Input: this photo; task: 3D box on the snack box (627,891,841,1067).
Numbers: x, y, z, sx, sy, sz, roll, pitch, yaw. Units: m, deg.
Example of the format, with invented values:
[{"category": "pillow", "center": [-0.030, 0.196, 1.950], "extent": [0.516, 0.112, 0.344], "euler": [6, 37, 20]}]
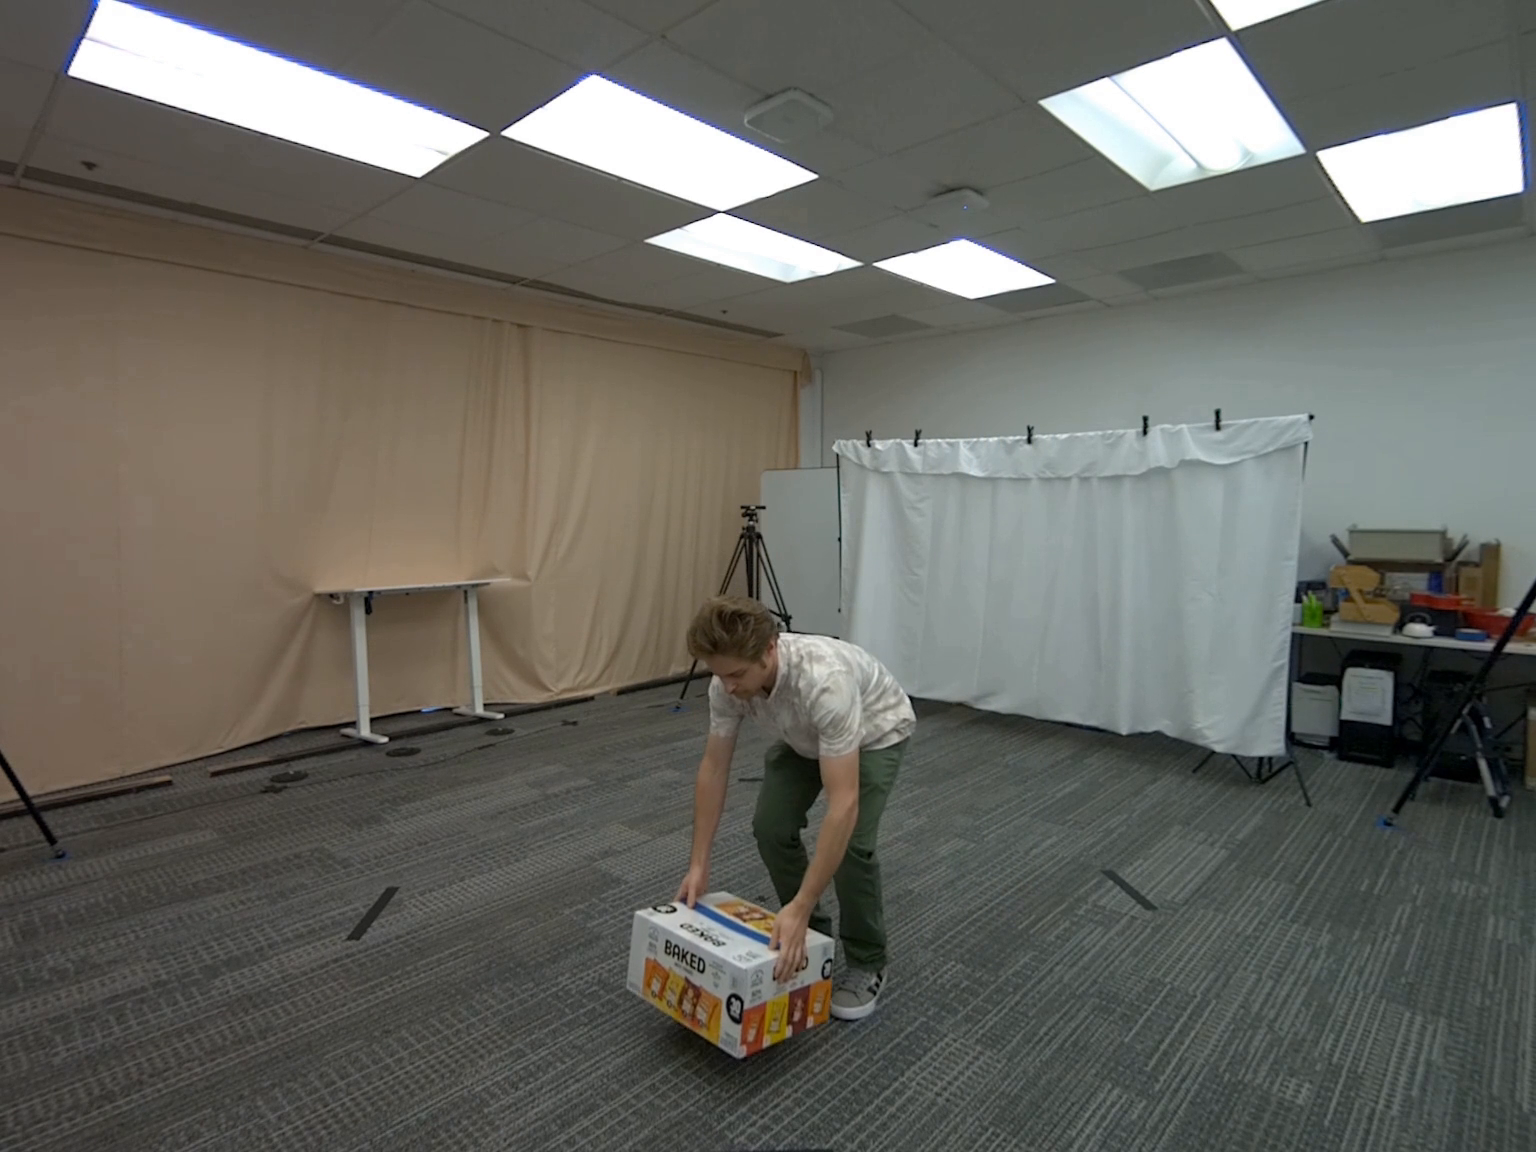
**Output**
[{"category": "snack box", "center": [-0.090, 1.005, 2.175], "extent": [0.419, 0.206, 0.328], "euler": [4, -4, 43]}]
